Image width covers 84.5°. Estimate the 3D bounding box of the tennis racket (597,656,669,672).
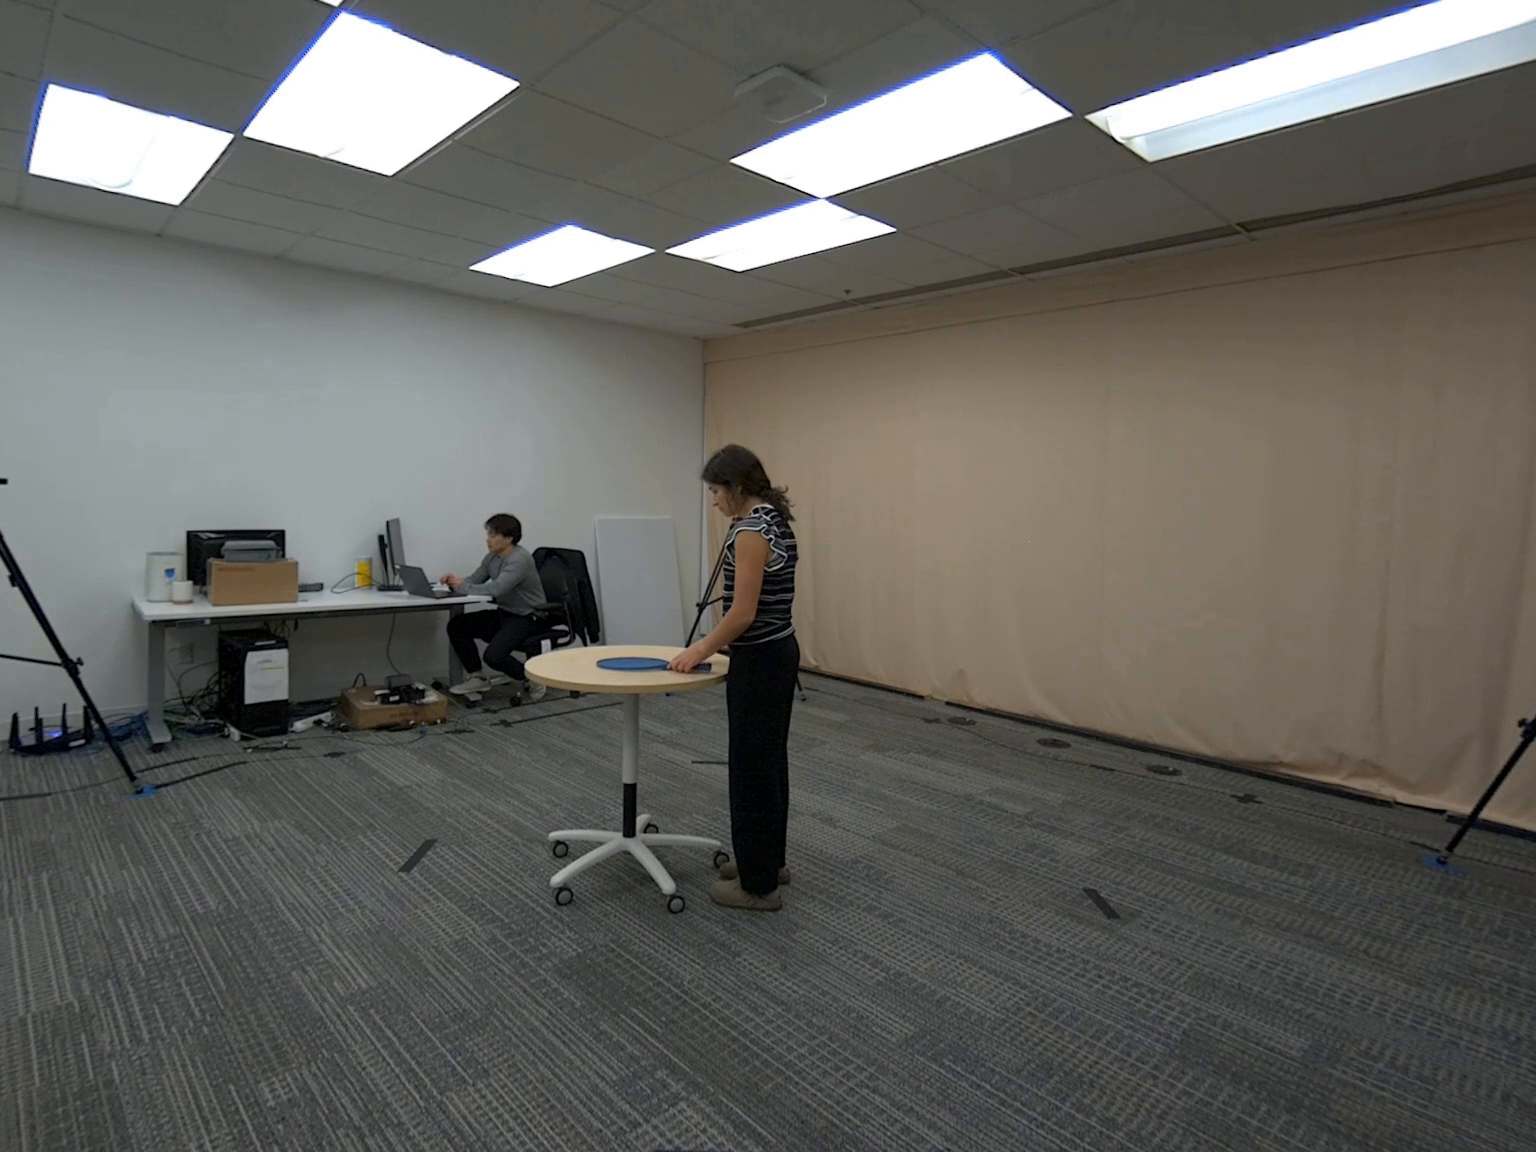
[{"bbox_3d":[-0.413,0.316,2.998,0.438,0.032,0.212,1,4,14],"label":"tennis racket"}]
